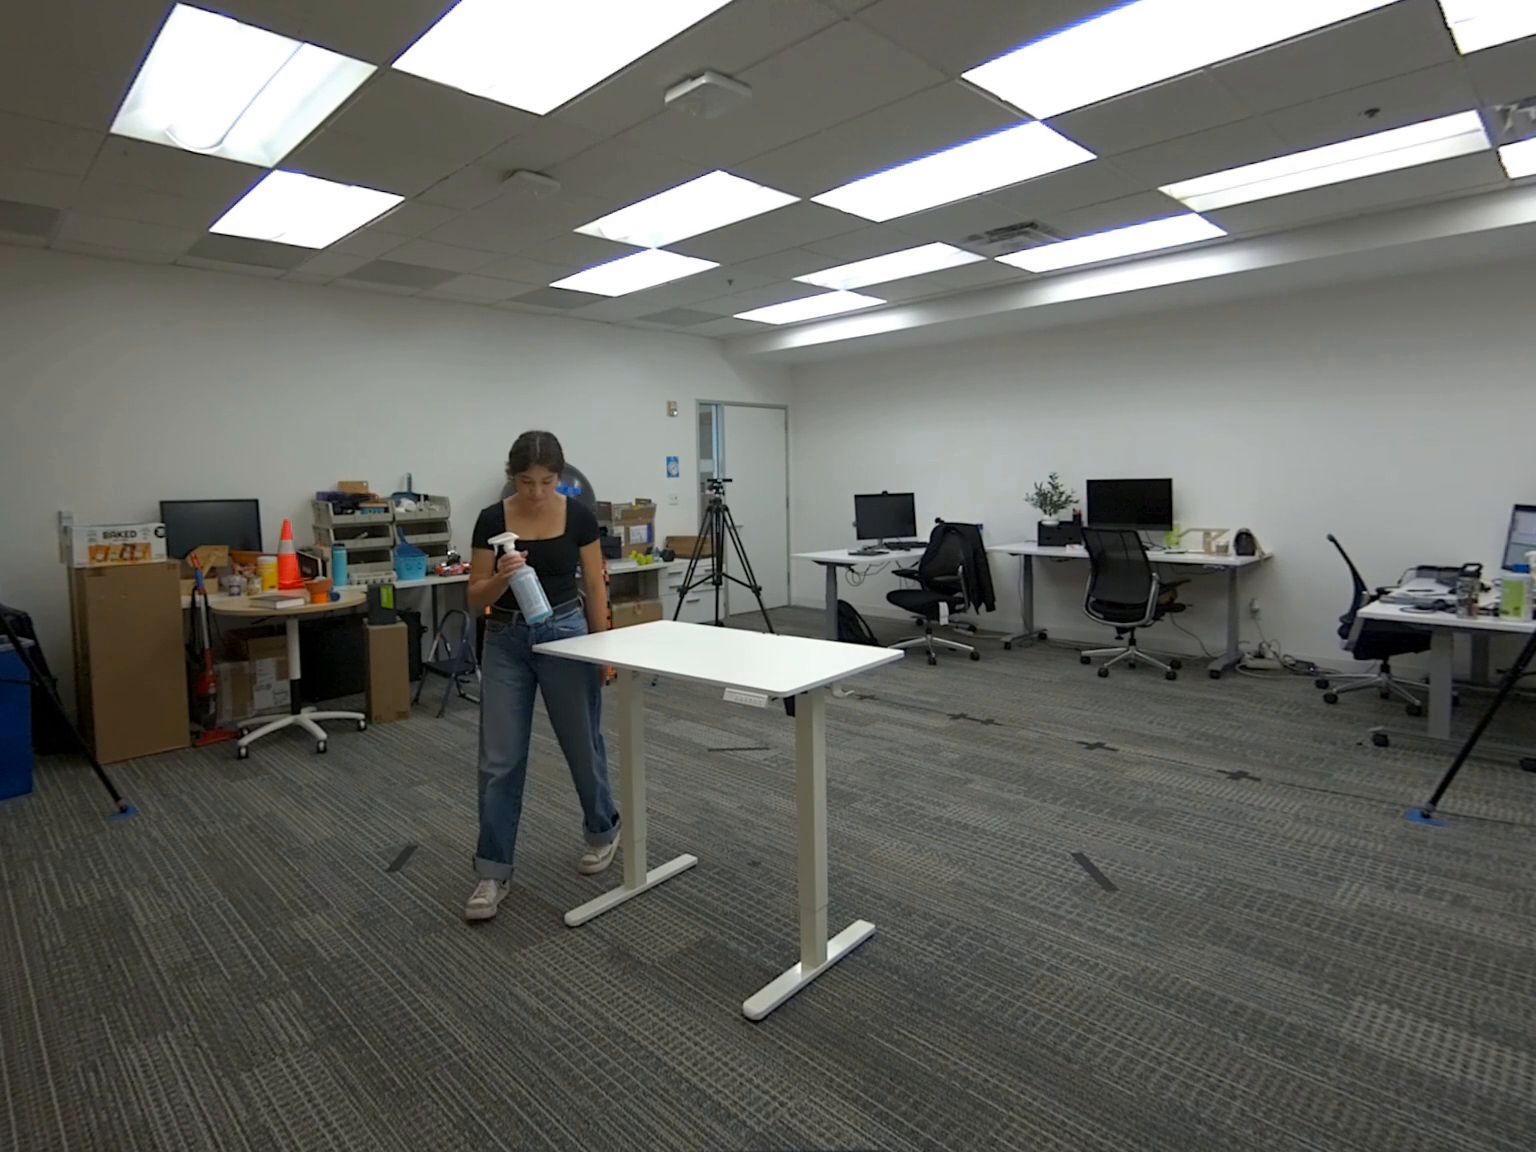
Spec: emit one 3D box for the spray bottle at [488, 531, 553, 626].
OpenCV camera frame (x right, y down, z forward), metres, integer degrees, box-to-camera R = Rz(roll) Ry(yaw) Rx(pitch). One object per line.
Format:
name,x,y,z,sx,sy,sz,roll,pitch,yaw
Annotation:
spray bottle,-0.773,0.006,2.673,0.091,0.298,0.086,-24,-2,19
